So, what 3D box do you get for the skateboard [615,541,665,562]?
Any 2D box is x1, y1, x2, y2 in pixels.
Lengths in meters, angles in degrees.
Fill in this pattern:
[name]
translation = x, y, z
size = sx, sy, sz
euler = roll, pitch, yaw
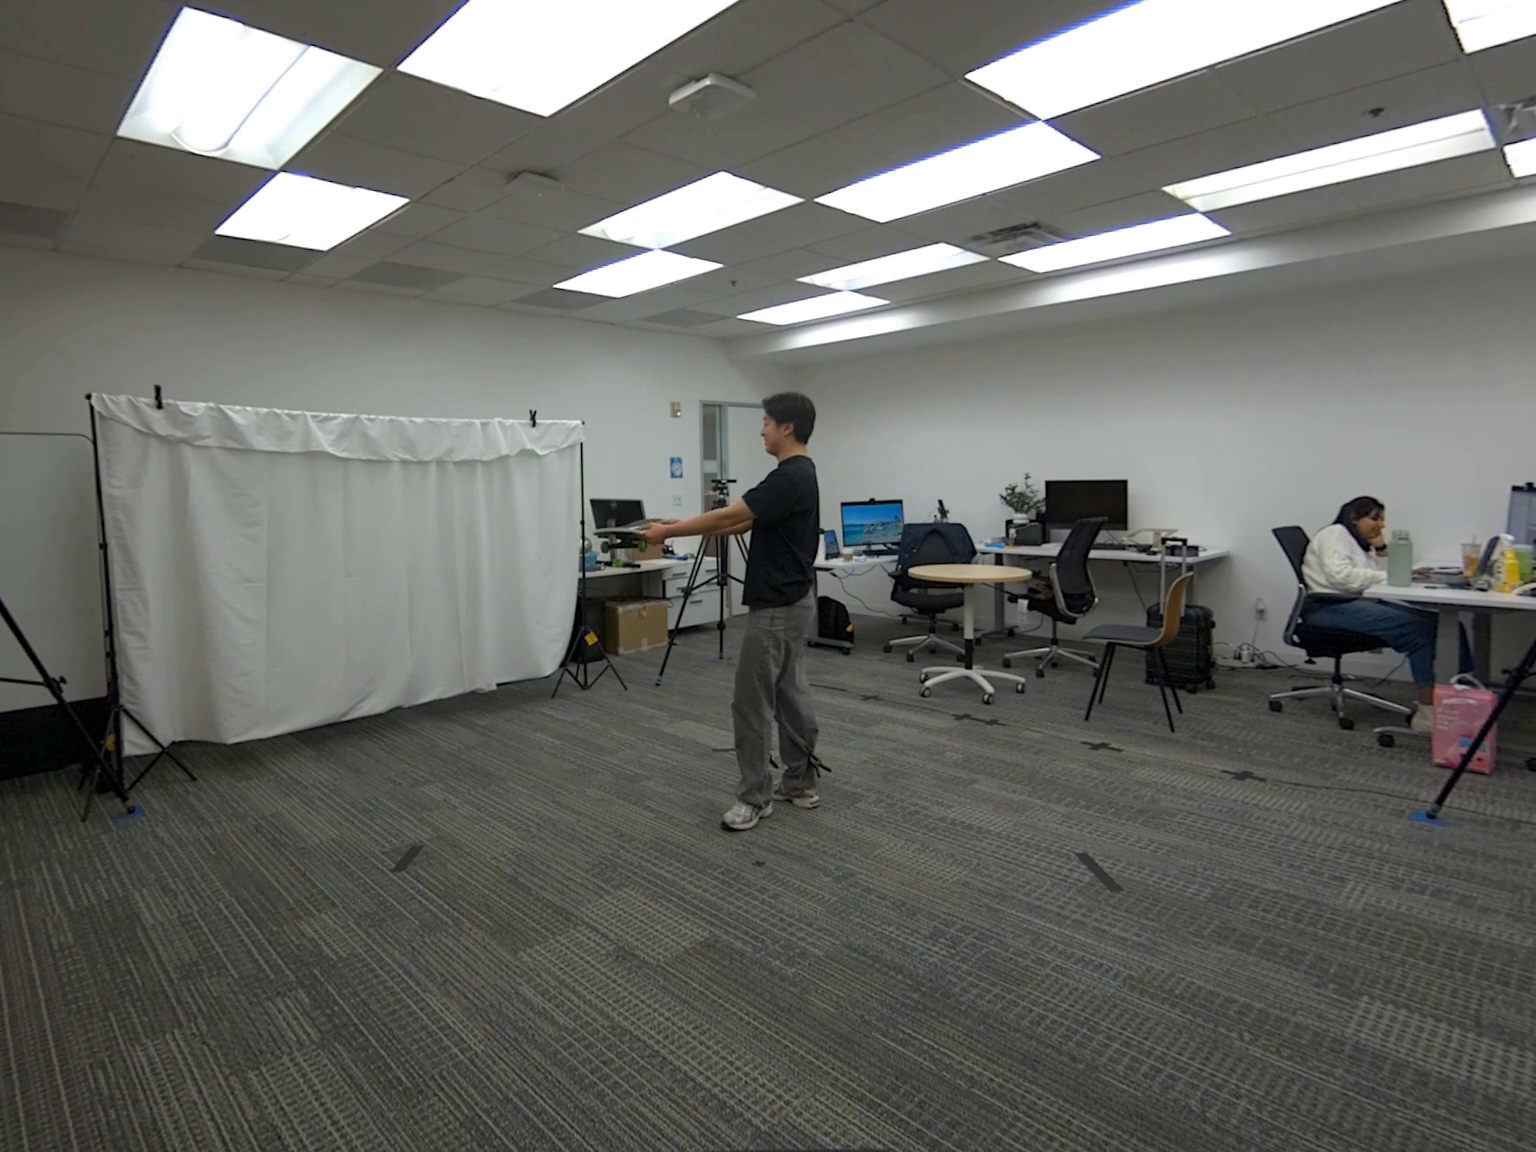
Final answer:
[skateboard]
translation = -0.564, -0.166, 3.627
size = 0.194, 0.110, 0.785
euler = -3, 7, 3
